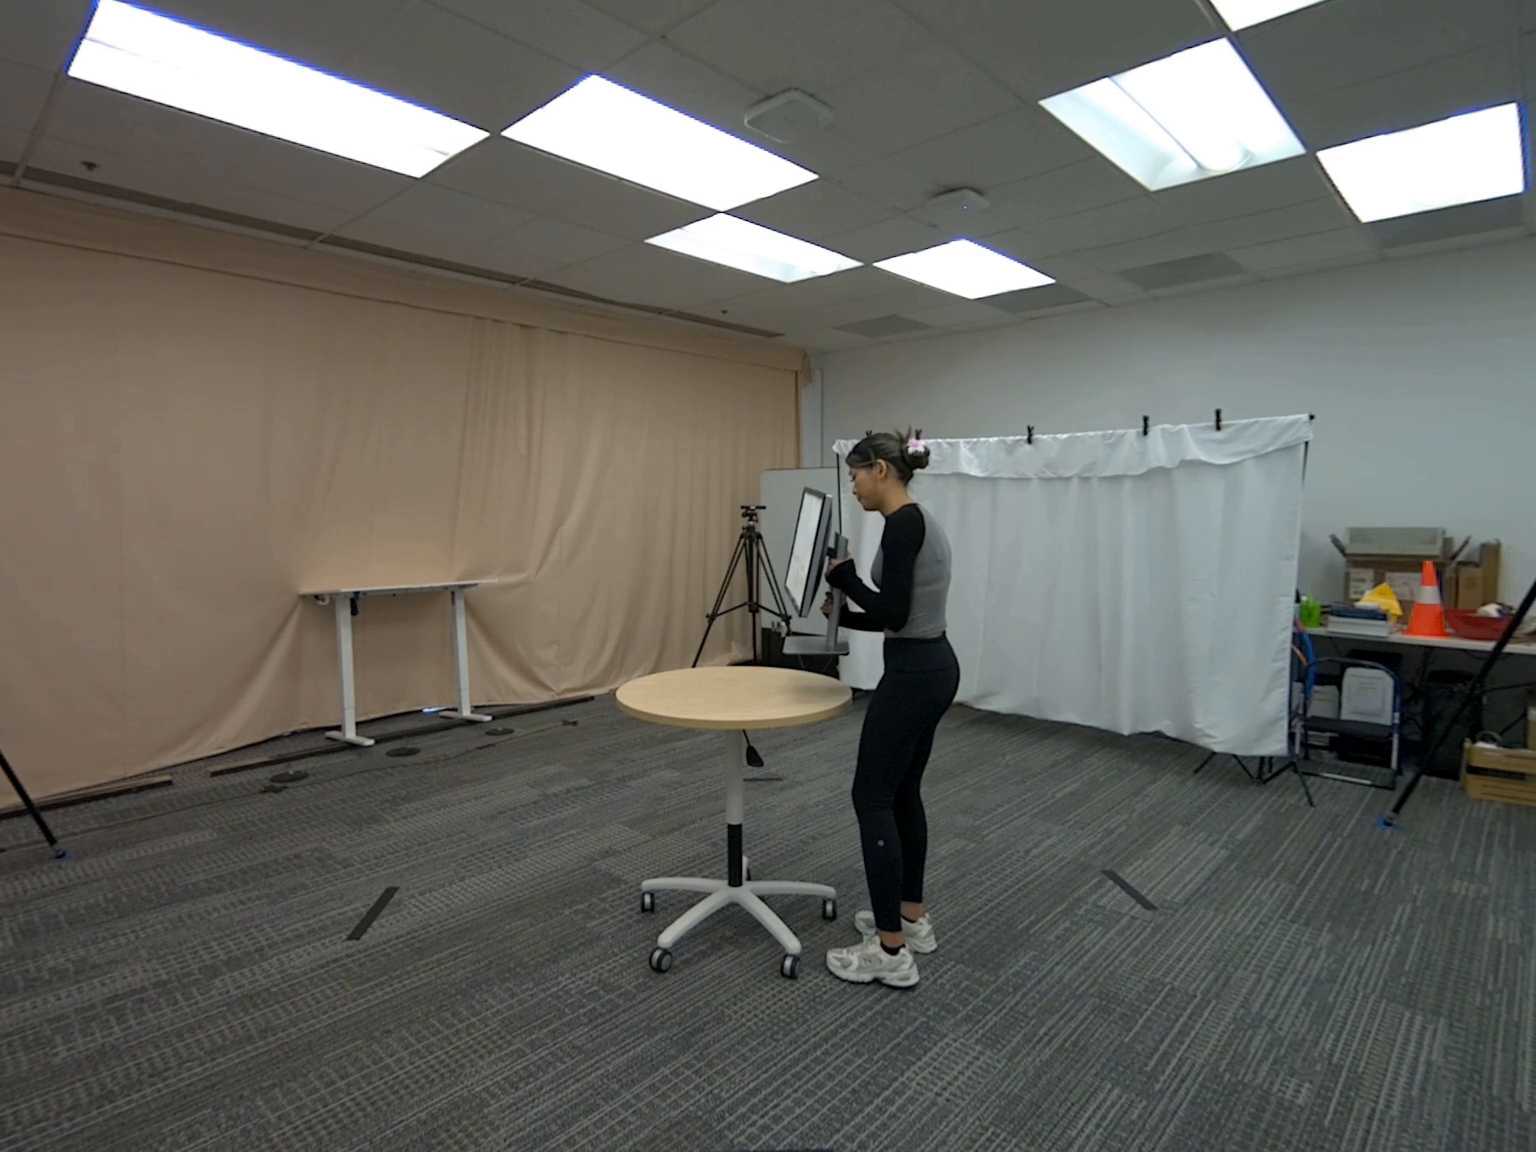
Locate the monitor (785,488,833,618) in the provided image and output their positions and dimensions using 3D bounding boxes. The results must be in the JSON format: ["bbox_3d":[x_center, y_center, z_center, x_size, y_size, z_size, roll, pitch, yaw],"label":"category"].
[{"bbox_3d":[0.167,-0.012,2.689,0.186,0.520,0.544,-2,8,-5],"label":"monitor"}]
